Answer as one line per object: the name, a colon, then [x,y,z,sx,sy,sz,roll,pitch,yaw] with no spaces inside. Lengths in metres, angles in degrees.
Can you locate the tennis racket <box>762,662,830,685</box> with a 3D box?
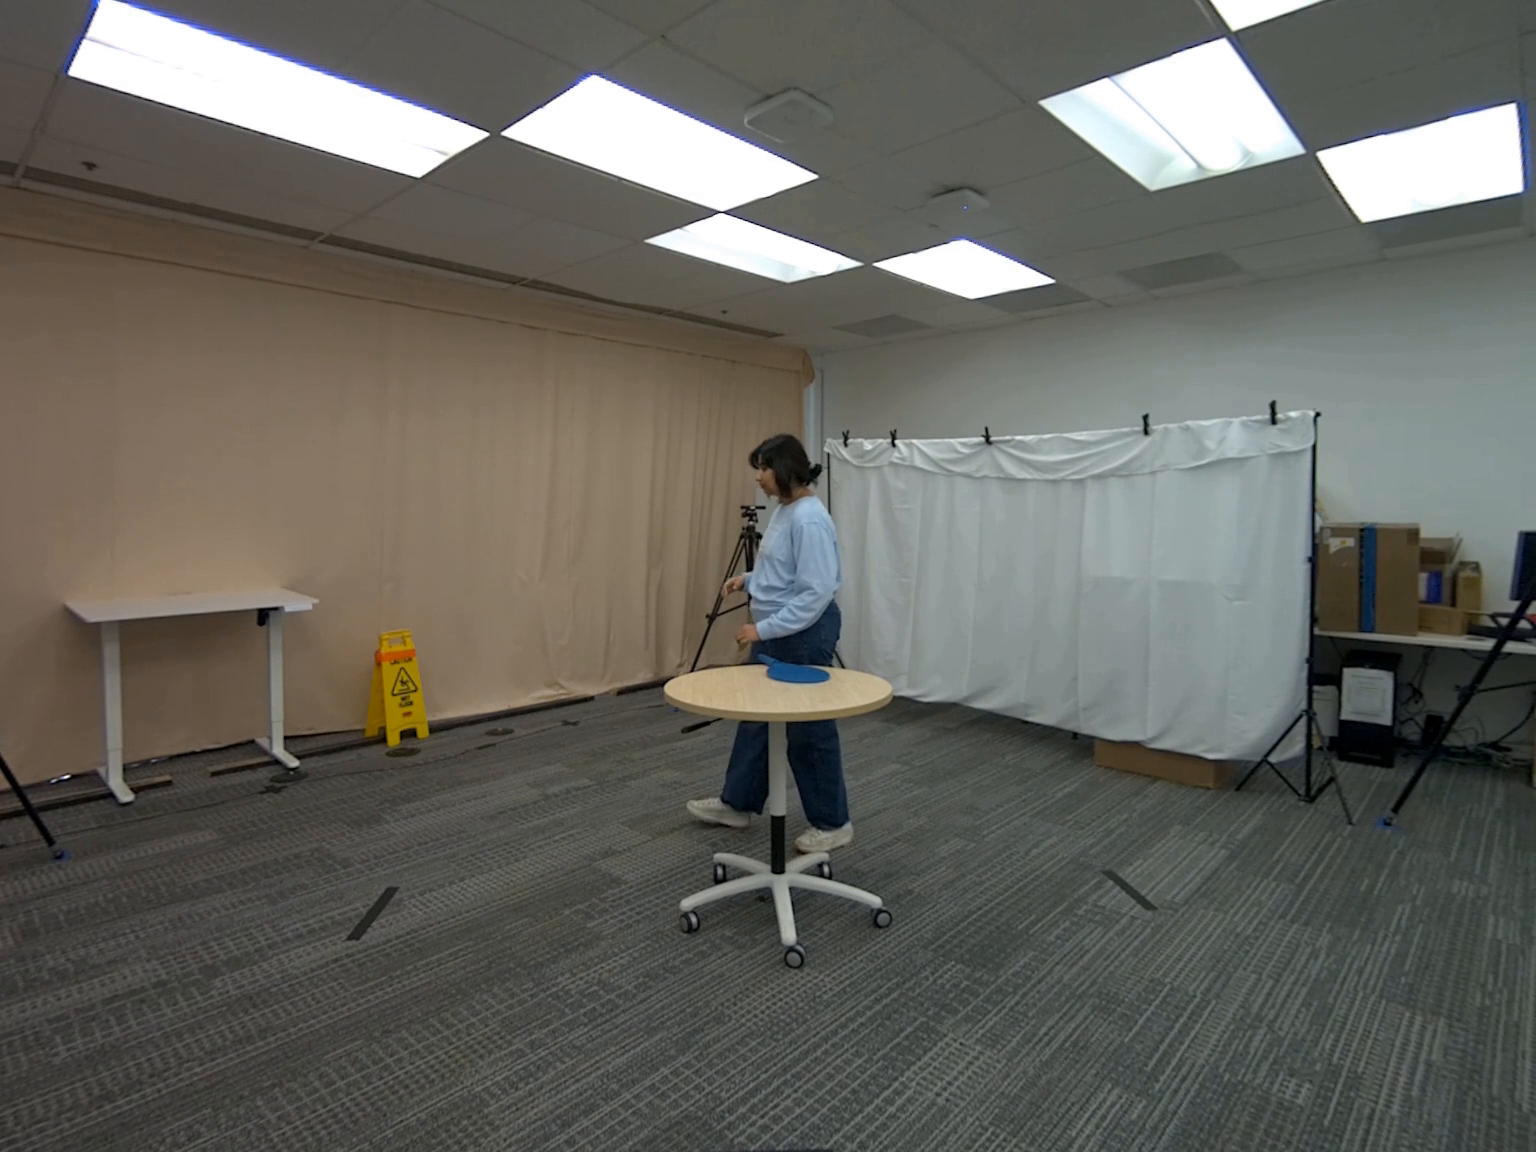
tennis racket: [0.078,0.340,3.081,0.209,0.031,0.444,-4,7,-23]
